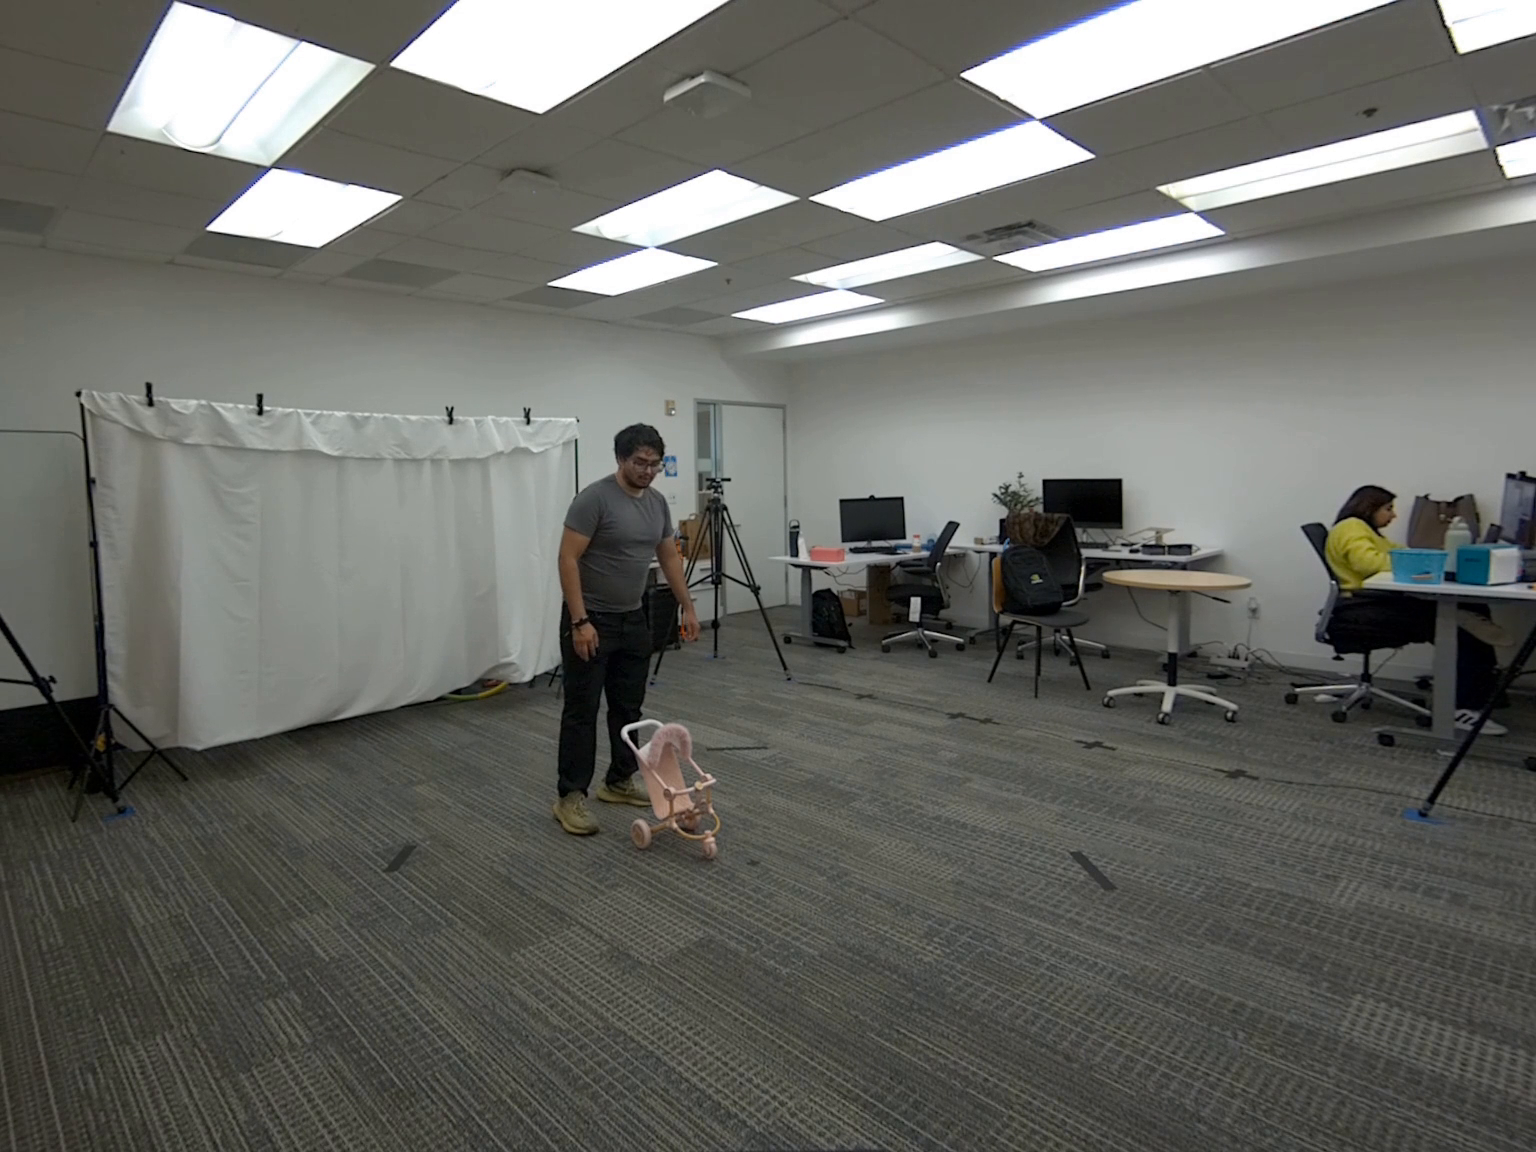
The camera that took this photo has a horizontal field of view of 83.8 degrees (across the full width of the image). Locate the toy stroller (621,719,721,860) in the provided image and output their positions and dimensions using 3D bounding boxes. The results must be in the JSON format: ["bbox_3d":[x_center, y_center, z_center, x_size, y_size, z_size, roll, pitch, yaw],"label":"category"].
[{"bbox_3d":[-0.356,0.806,3.269,0.274,0.540,0.347,-5,-11,-40],"label":"toy stroller"}]
